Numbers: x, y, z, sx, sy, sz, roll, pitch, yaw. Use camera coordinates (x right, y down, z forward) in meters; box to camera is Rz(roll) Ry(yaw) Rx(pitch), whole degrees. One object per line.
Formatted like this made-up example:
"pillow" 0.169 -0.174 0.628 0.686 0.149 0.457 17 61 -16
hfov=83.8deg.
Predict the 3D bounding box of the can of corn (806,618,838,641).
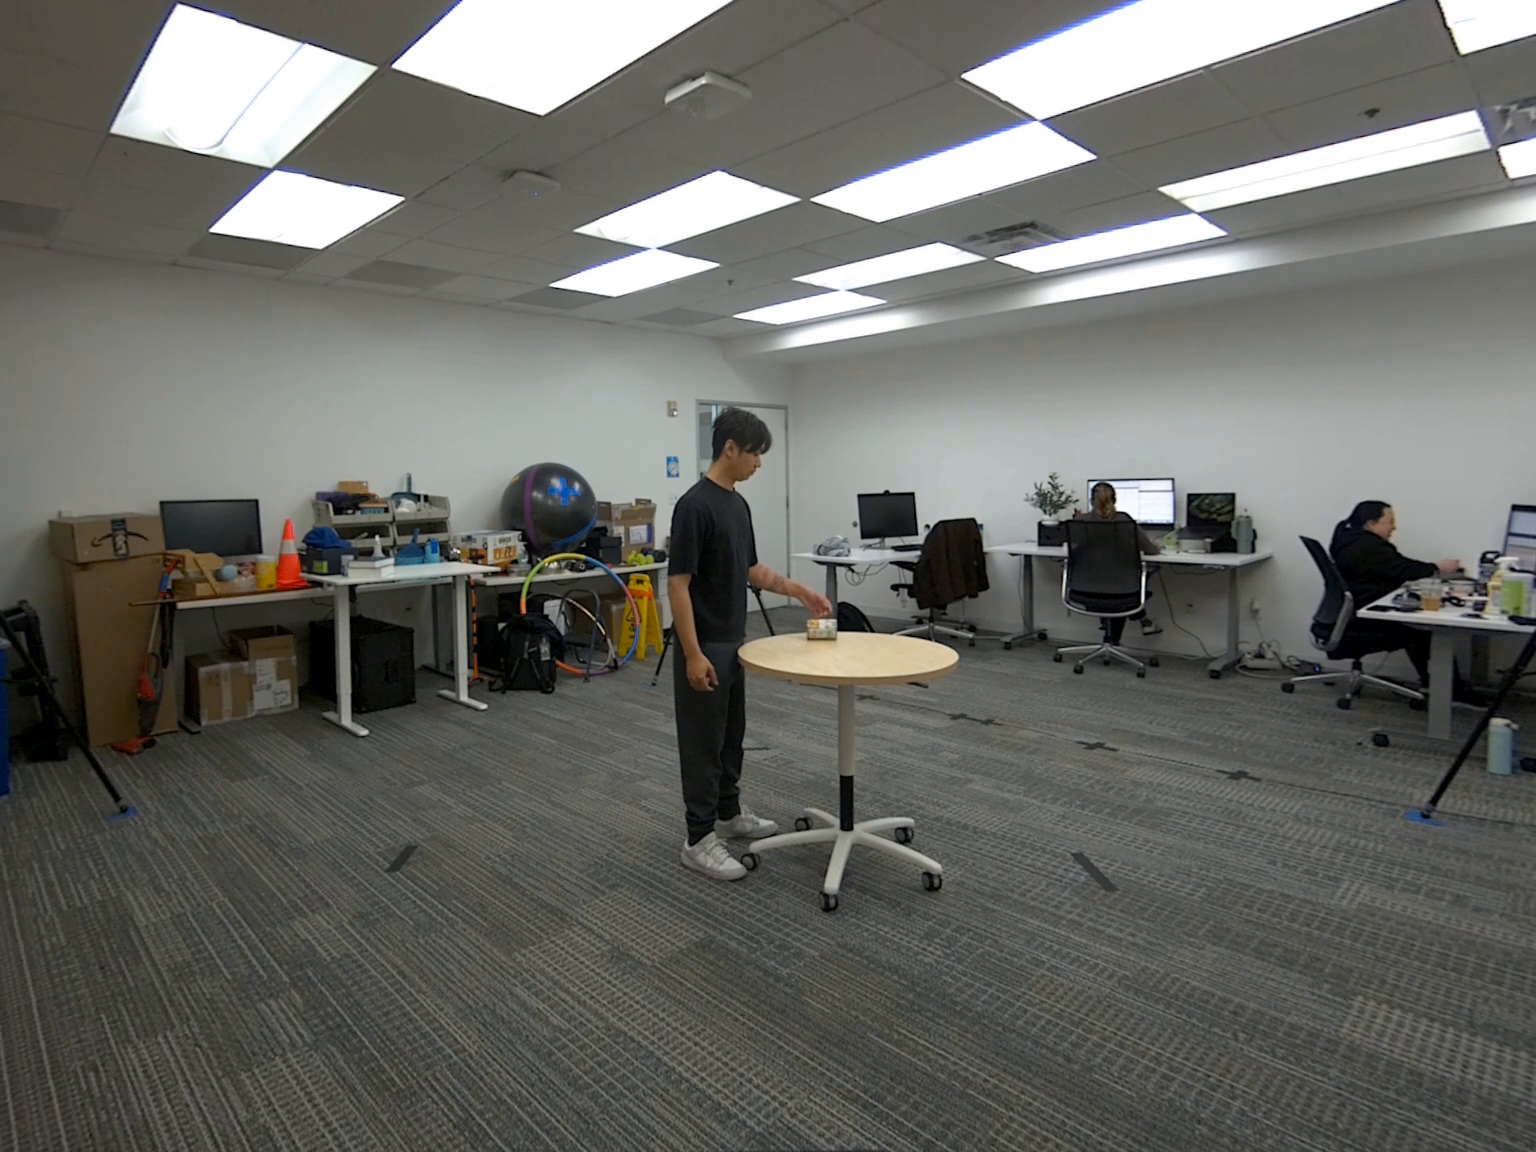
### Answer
"can of corn" 0.201 0.204 3.239 0.111 0.074 0.074 0 5 1
